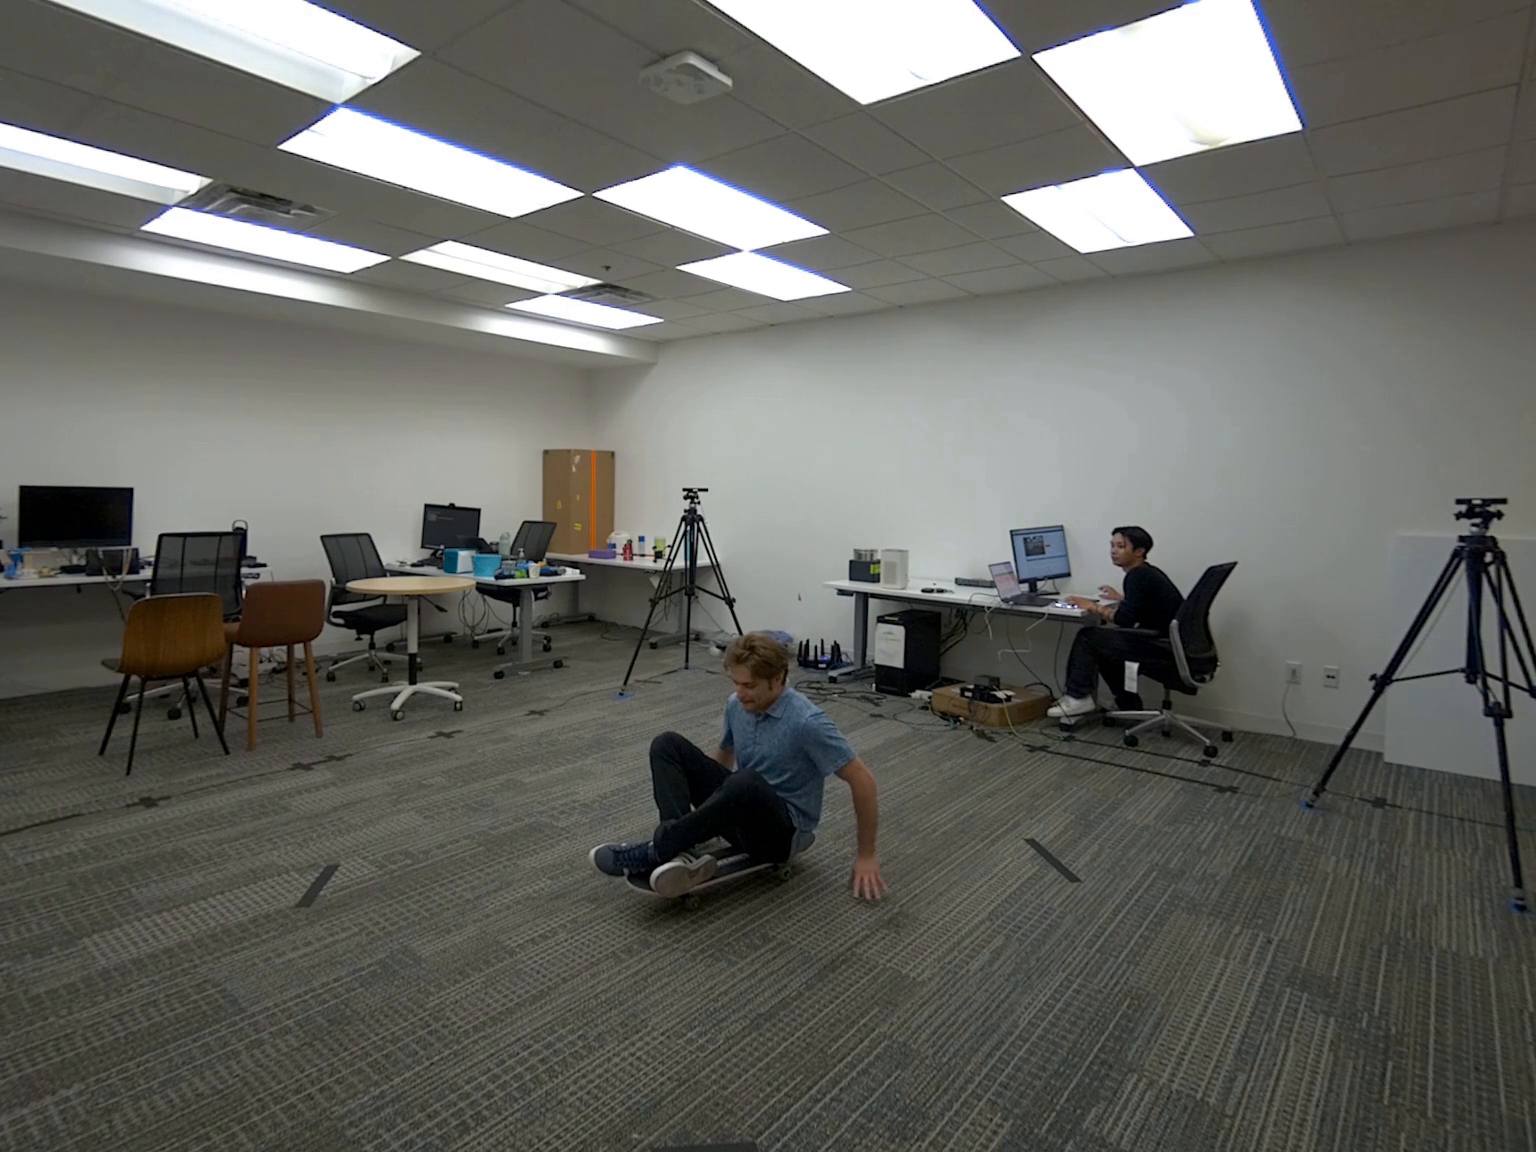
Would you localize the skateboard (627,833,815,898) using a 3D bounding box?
[{"bbox_3d":[-0.153,1.043,2.964,0.761,0.110,0.200,-2,6,-40],"label":"skateboard"}]
